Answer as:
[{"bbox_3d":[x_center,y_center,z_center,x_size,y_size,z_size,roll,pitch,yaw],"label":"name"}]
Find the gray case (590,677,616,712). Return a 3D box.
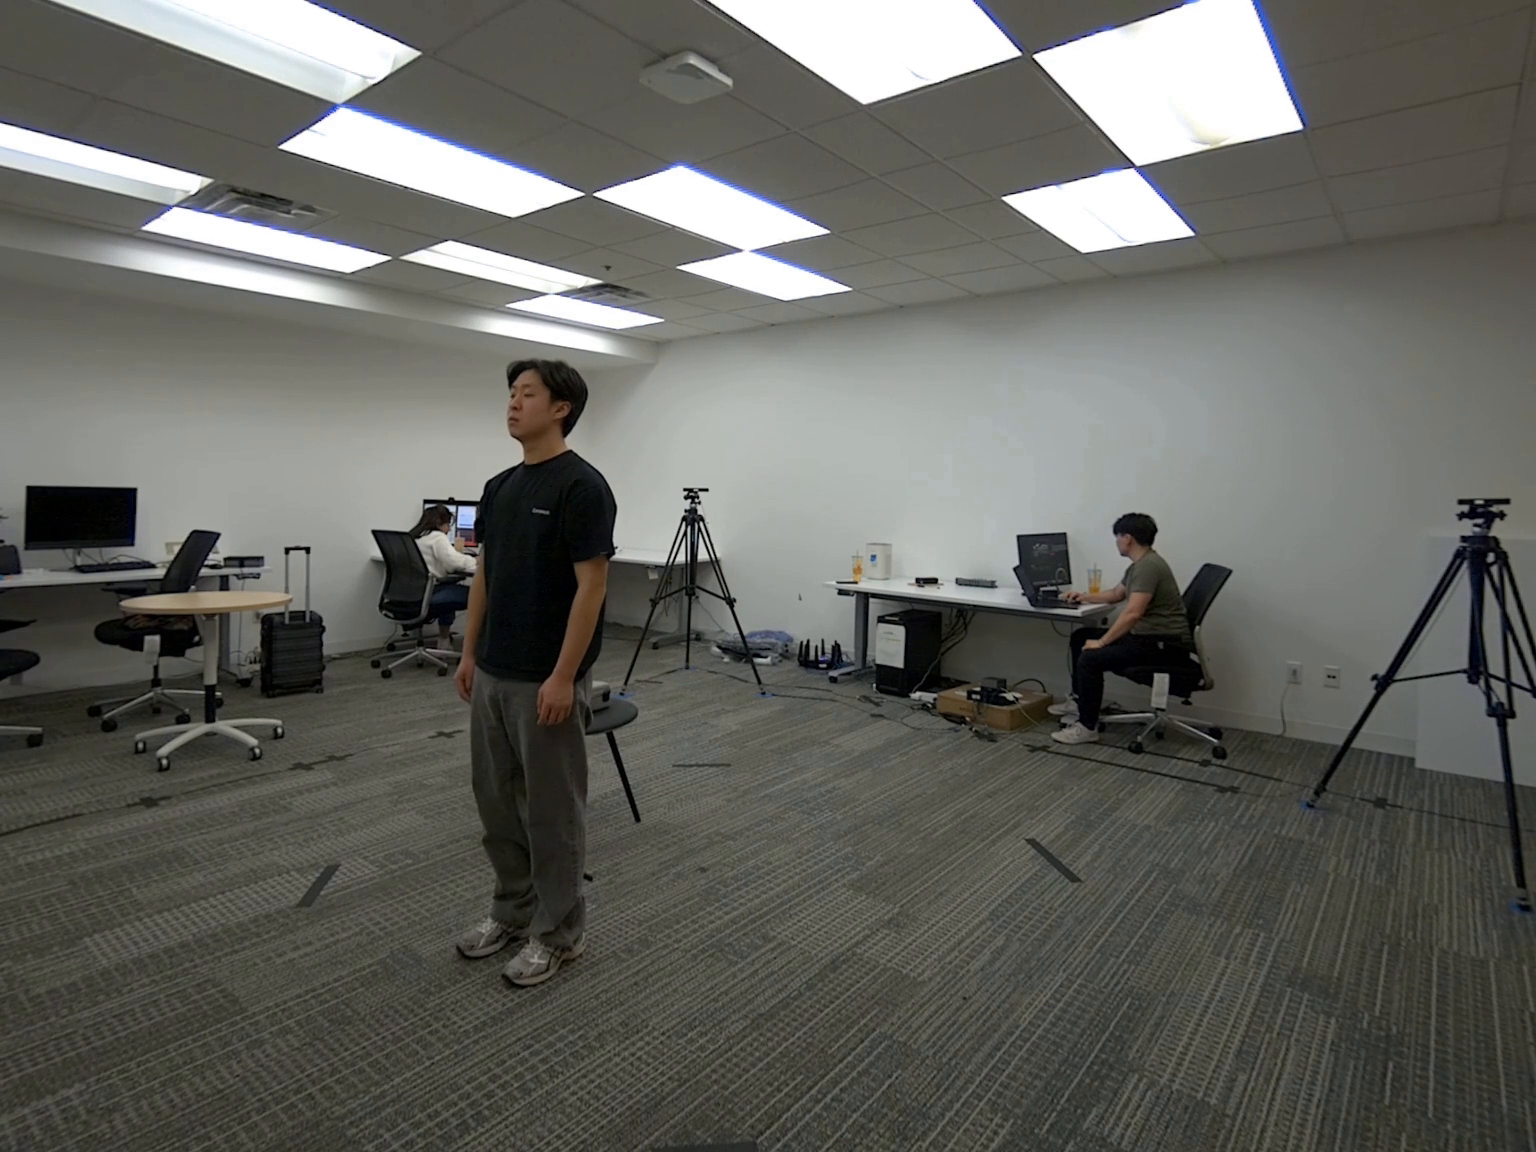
[{"bbox_3d":[-0.832,0.490,3.473,0.296,0.103,0.256,0,4,34],"label":"gray case"}]
